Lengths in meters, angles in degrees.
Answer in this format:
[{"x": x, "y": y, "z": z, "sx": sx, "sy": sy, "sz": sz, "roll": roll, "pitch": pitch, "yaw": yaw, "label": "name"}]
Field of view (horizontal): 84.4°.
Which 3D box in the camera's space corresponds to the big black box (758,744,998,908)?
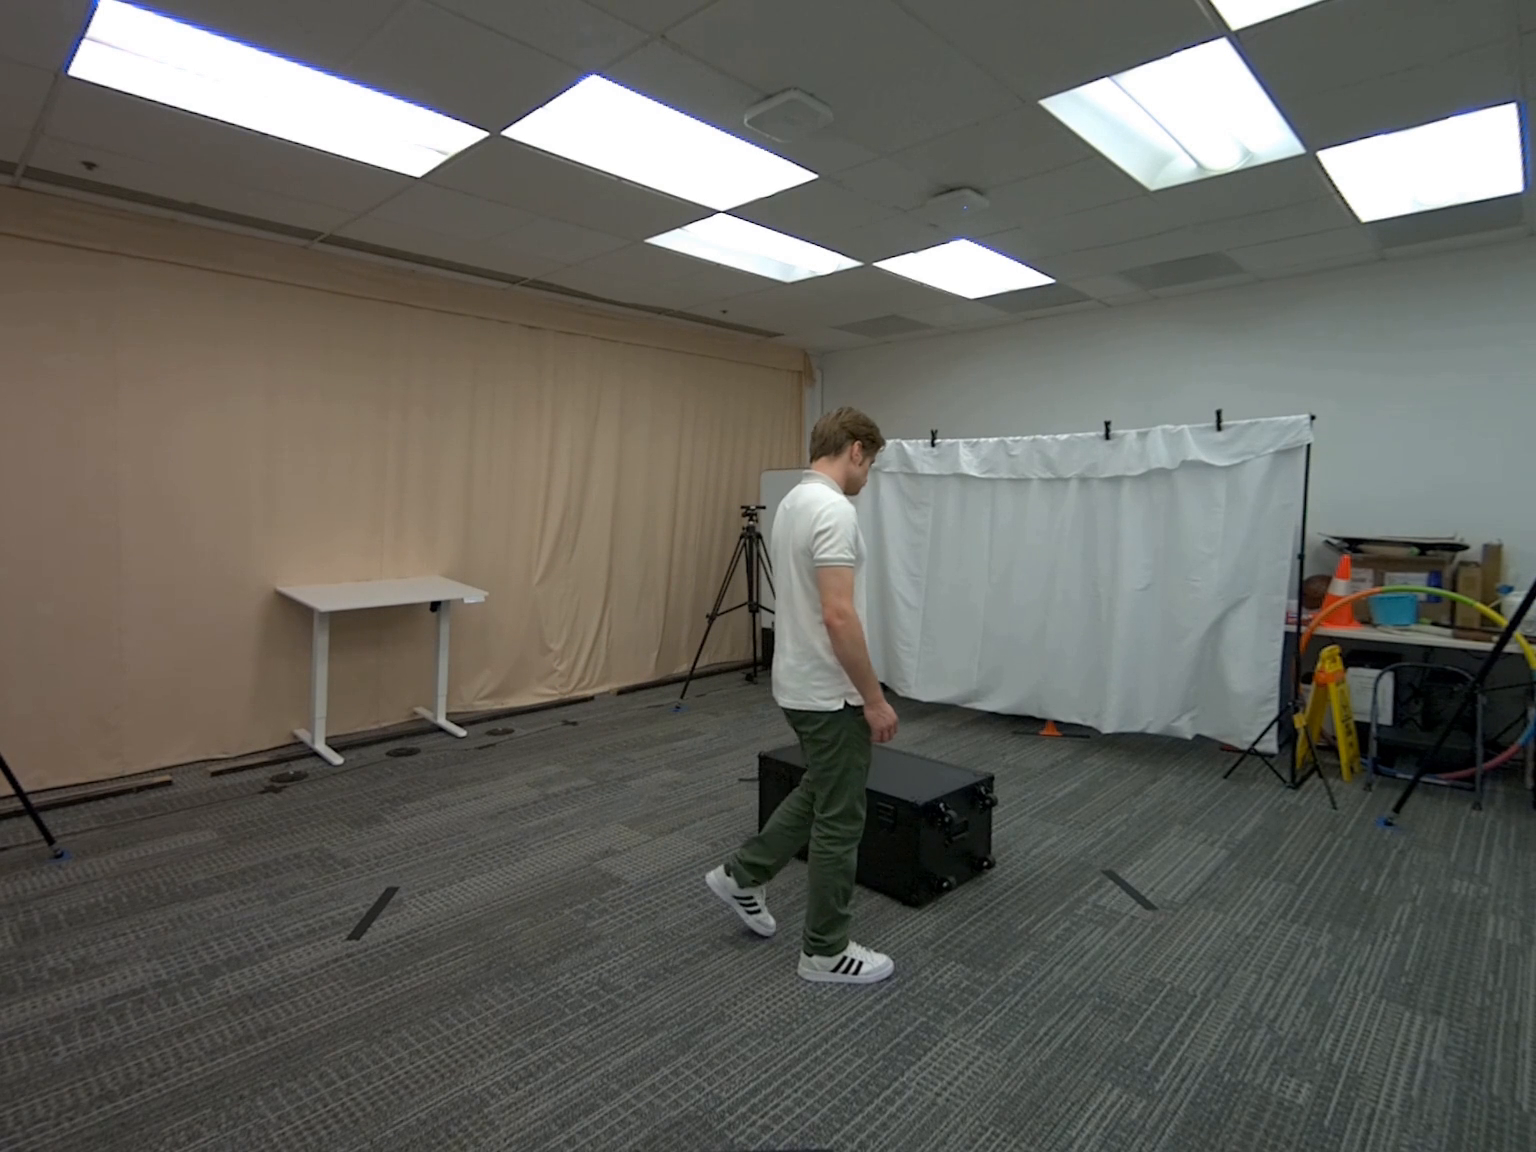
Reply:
[{"x": 0.429, "y": 0.927, "z": 3.295, "sx": 0.505, "sy": 0.395, "sz": 0.890, "roll": -4, "pitch": 5, "yaw": -44, "label": "big black box"}]
